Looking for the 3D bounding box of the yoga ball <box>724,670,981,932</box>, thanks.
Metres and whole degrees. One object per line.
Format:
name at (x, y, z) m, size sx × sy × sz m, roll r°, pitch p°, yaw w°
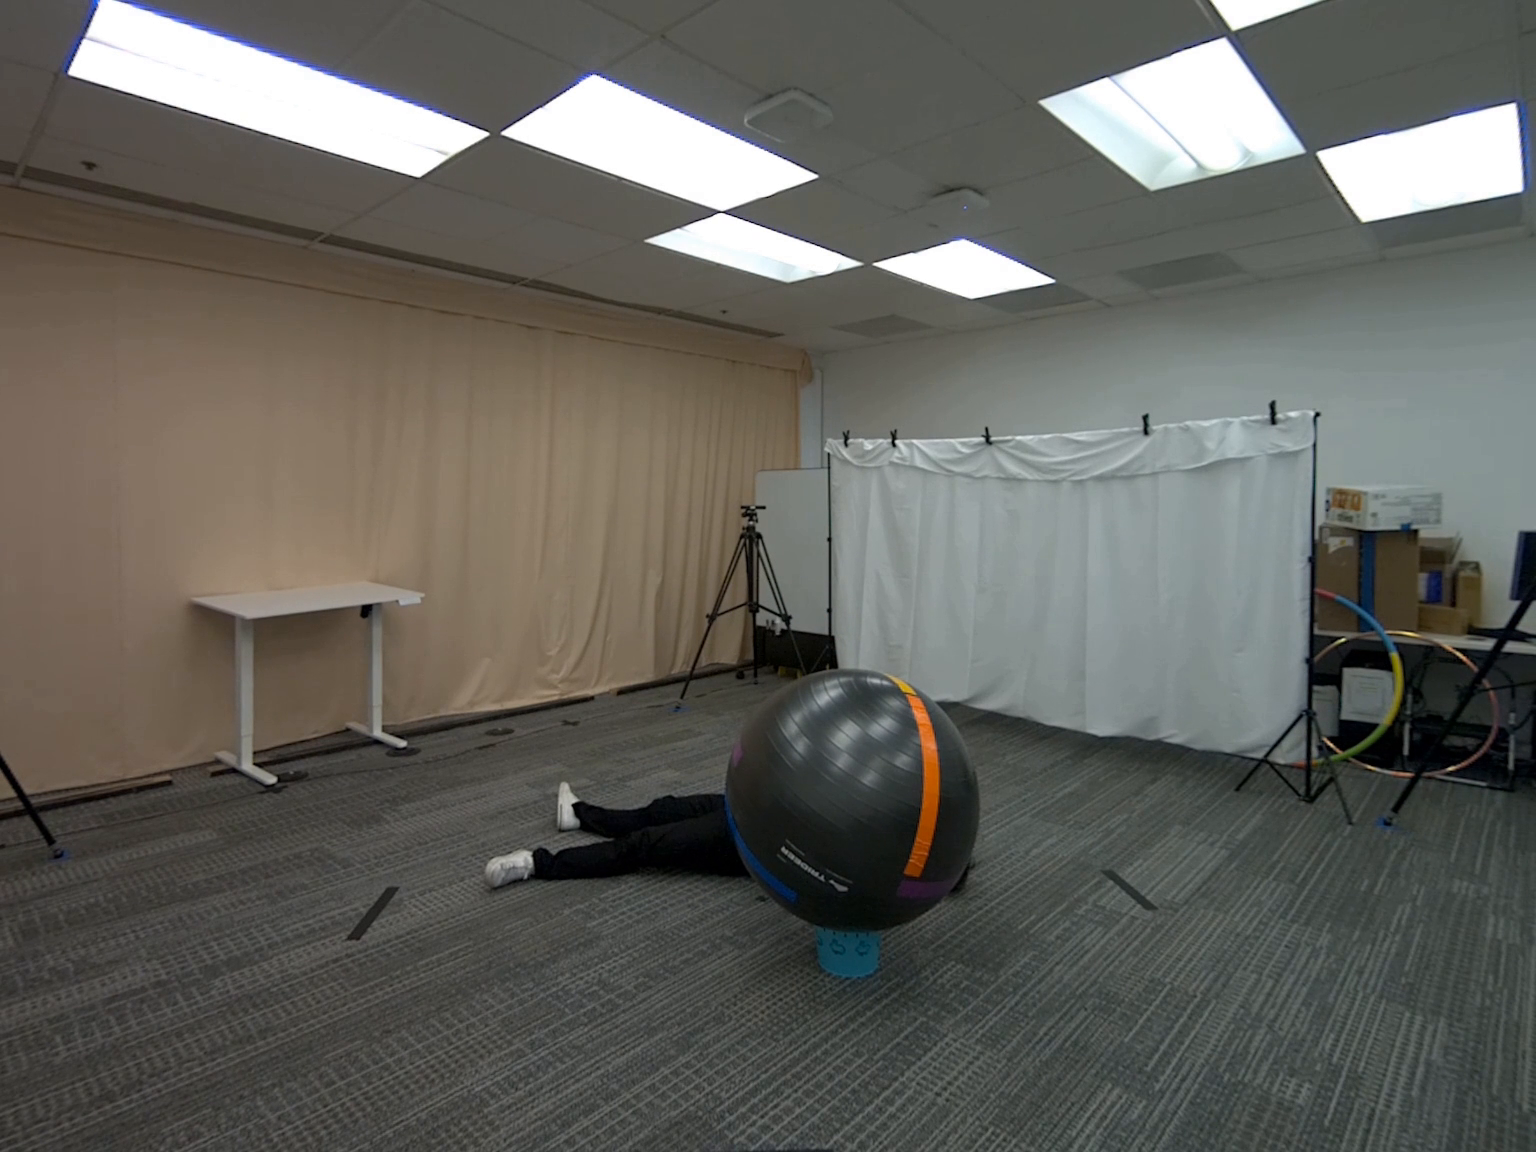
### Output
yoga ball at (0.260, 0.669, 2.552) m, size 0.757 × 0.756 × 0.760 m, roll 0°, pitch 4°, yaw -2°
